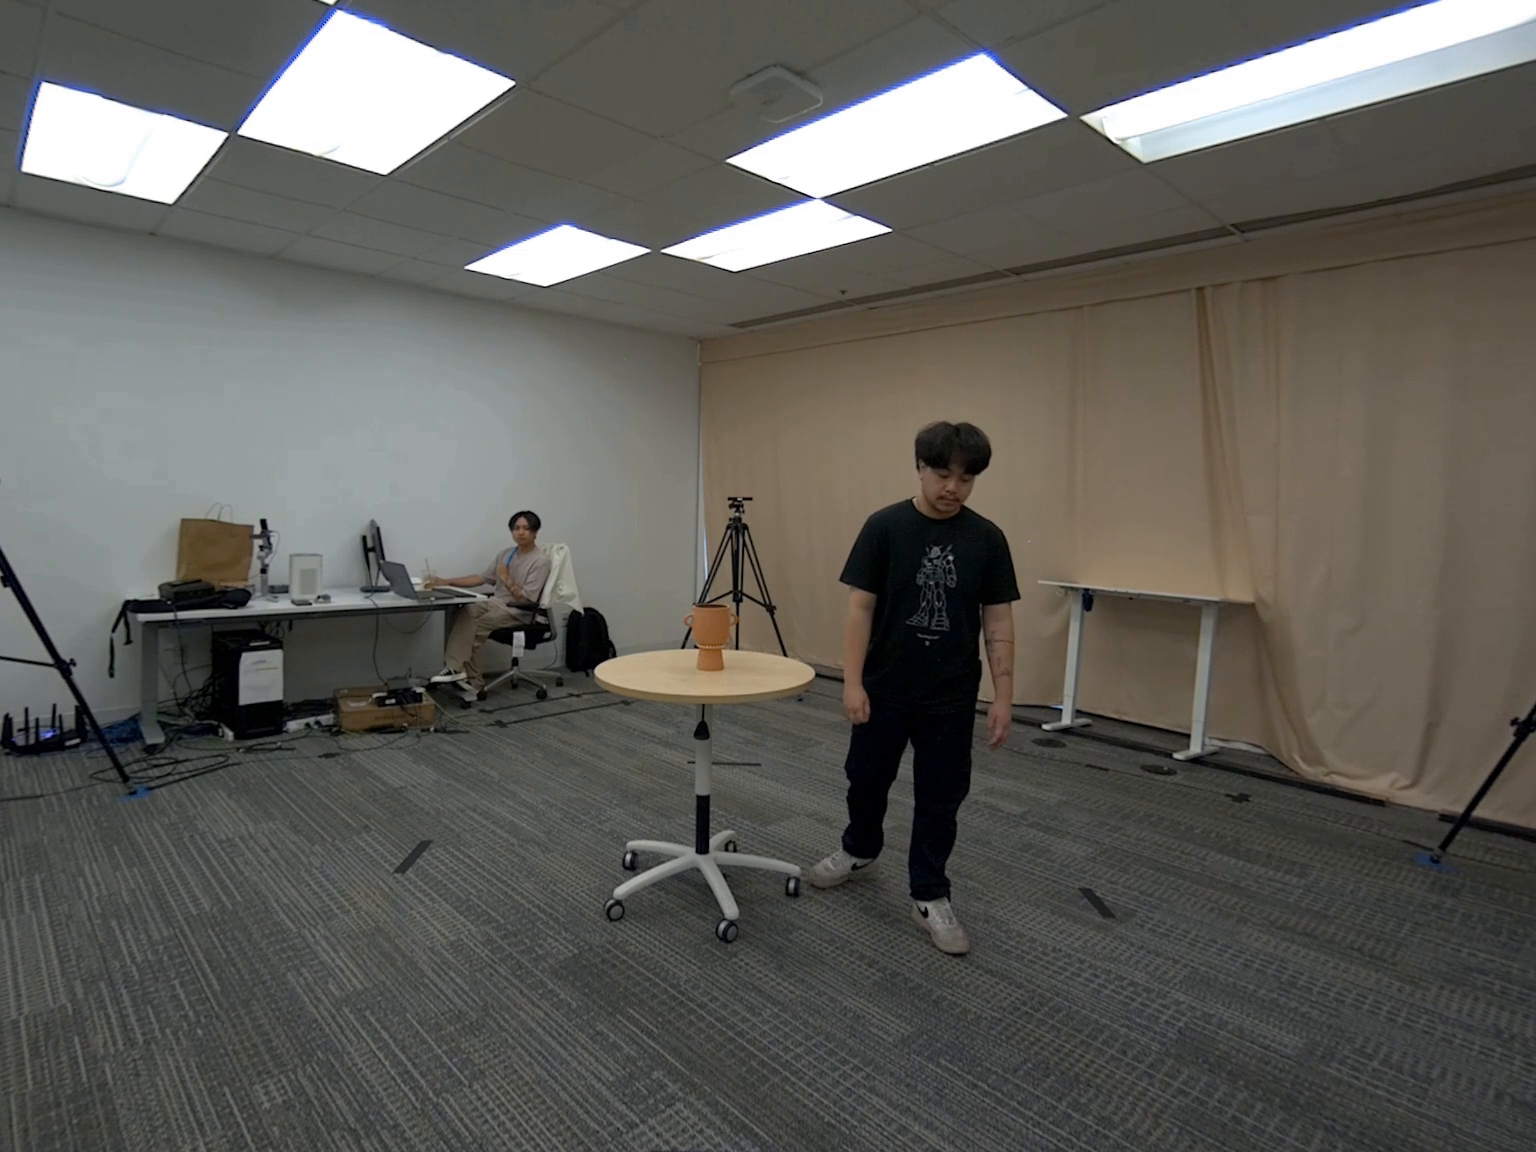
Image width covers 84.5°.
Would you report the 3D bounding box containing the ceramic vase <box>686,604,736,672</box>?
[{"bbox_3d":[-0.207,0.213,2.955,0.161,0.219,0.132,2,3,21],"label":"ceramic vase"}]
